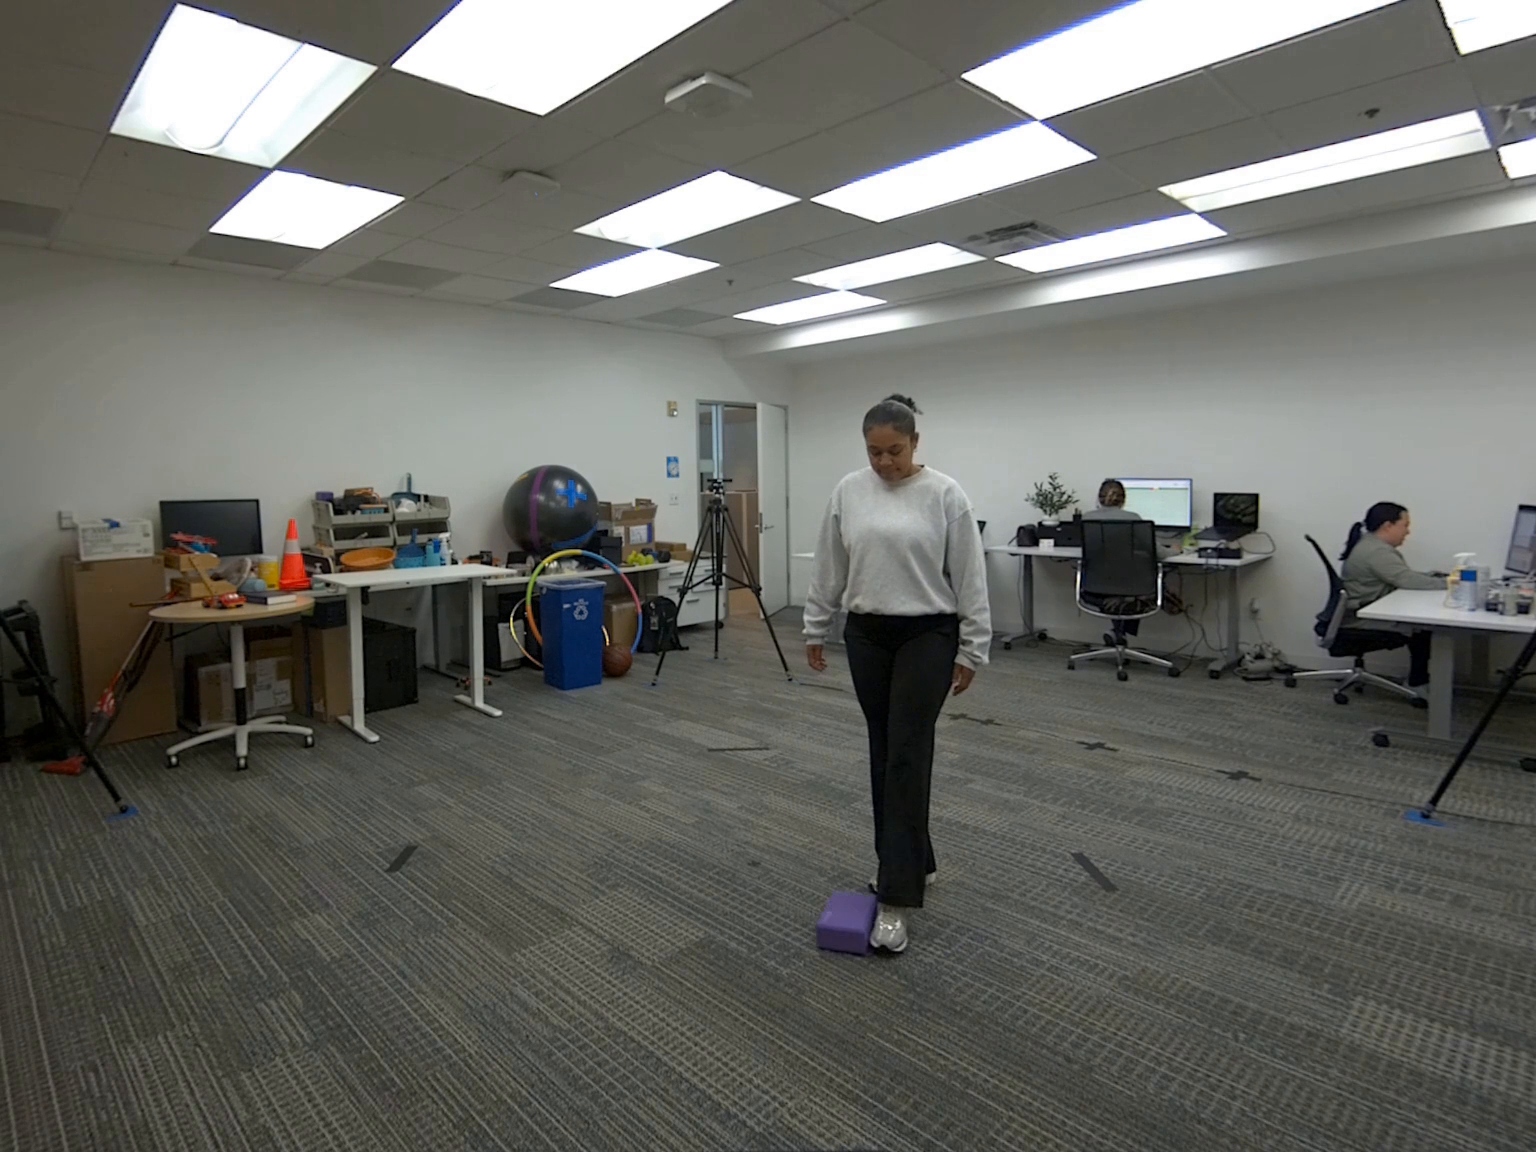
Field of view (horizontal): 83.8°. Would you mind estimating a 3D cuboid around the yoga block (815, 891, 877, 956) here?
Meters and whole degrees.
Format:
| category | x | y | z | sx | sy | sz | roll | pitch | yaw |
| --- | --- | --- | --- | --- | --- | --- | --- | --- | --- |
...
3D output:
| category | x | y | z | sx | sy | sz | roll | pitch | yaw |
| --- | --- | --- | --- | --- | --- | --- | --- | --- | --- |
| yoga block | 0.265 | 1.054 | 2.611 | 0.152 | 0.076 | 0.226 | -1 | 7 | 19 |
